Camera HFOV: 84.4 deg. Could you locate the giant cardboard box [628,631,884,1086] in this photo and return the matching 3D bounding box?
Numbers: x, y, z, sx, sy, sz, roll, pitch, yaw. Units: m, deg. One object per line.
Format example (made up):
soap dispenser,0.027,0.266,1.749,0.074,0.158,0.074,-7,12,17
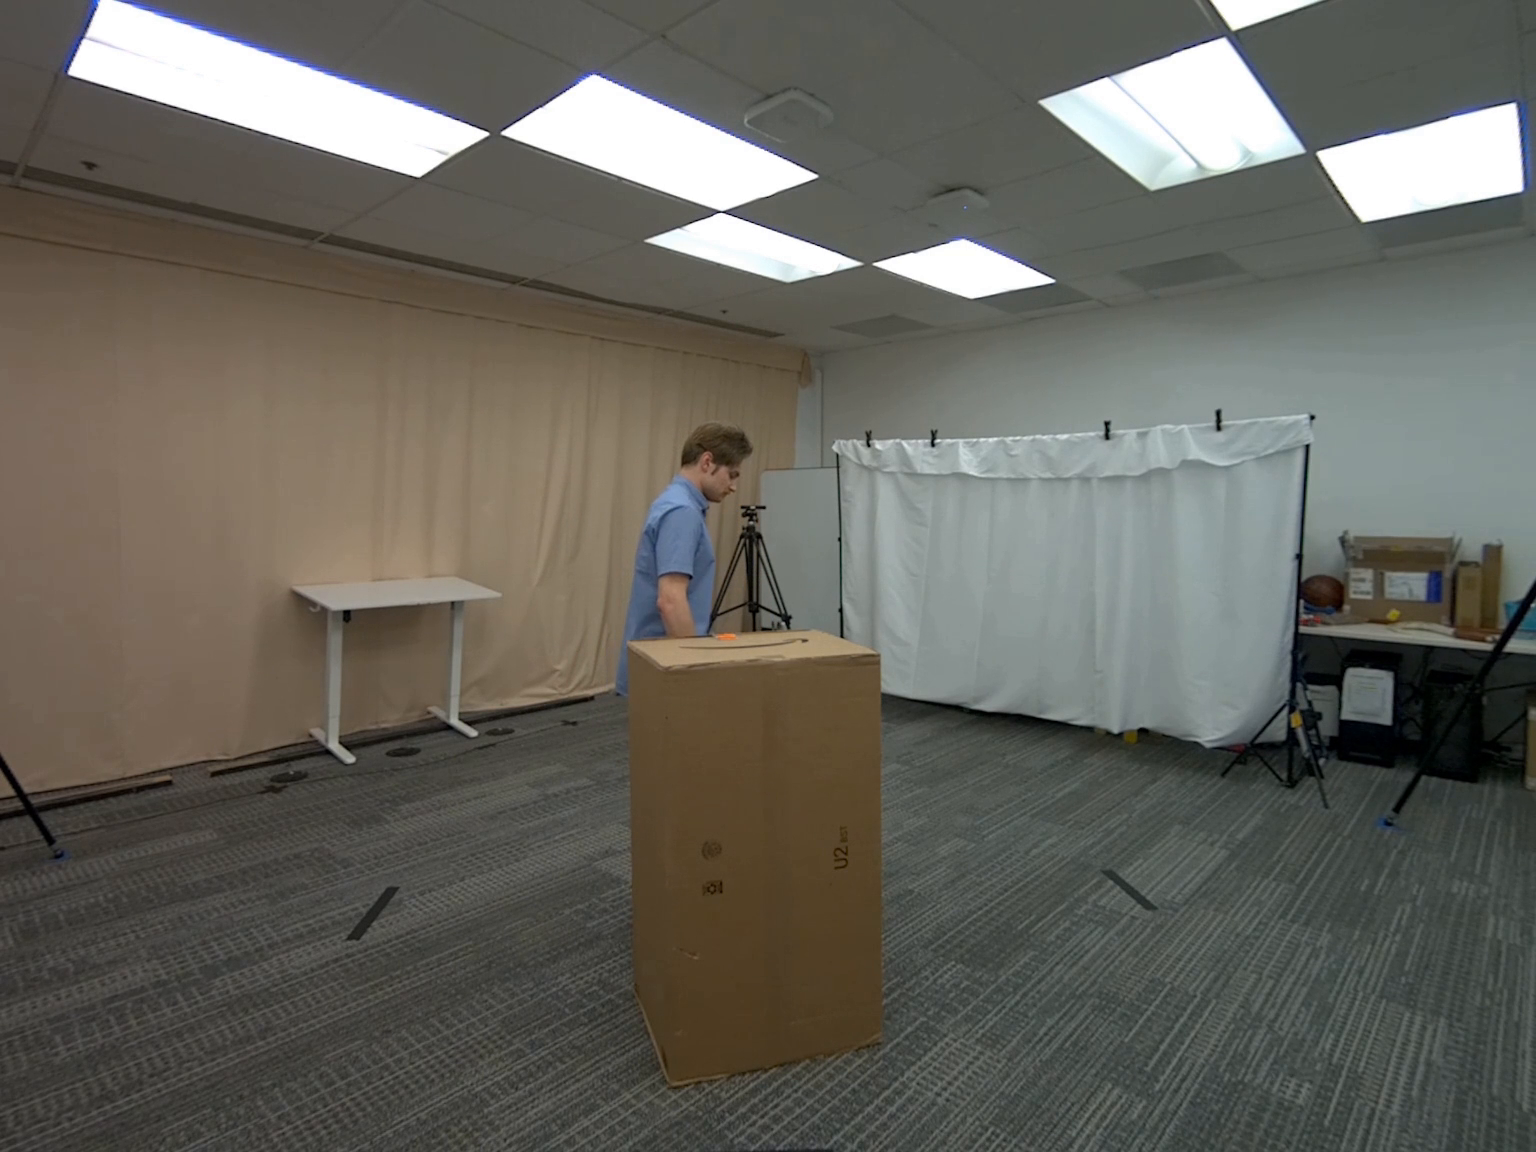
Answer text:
giant cardboard box,-0.042,0.699,2.267,0.573,1.024,0.457,-2,4,-20
